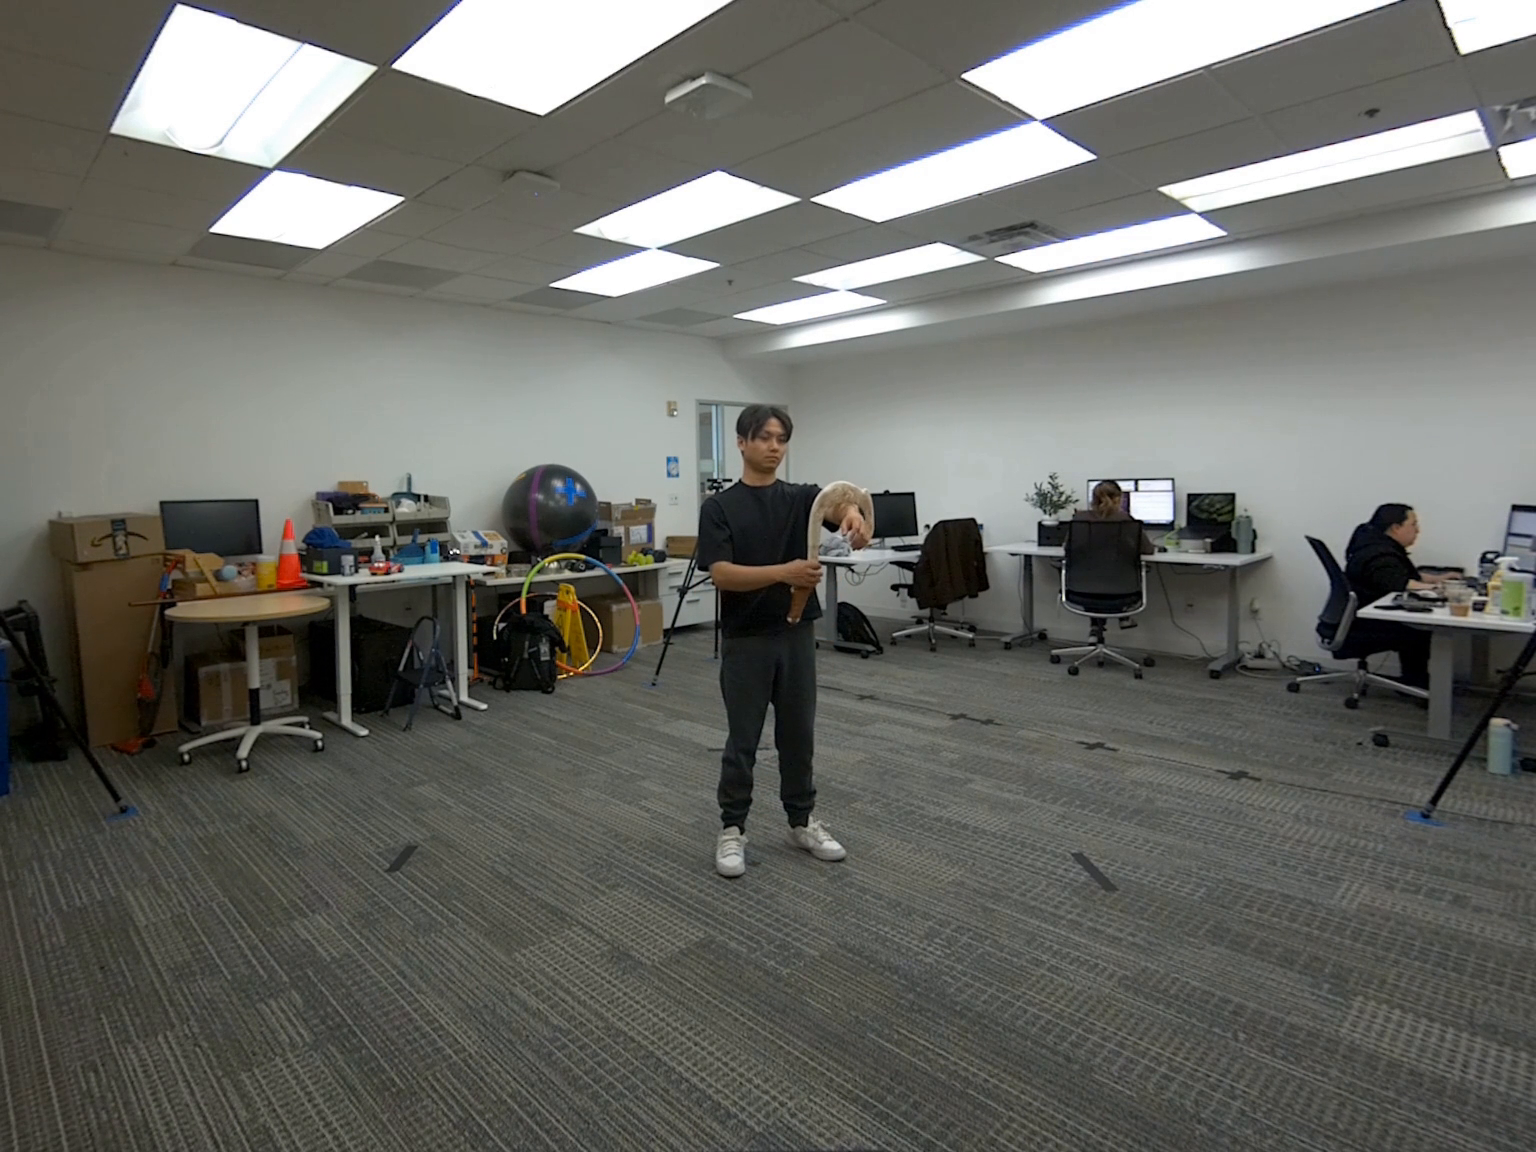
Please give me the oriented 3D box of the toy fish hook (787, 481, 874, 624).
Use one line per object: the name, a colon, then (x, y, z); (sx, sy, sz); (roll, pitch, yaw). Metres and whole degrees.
toy fish hook: (0.208, -0.065, 2.851); (0.224, 0.505, 0.048); (18, 3, -2)
